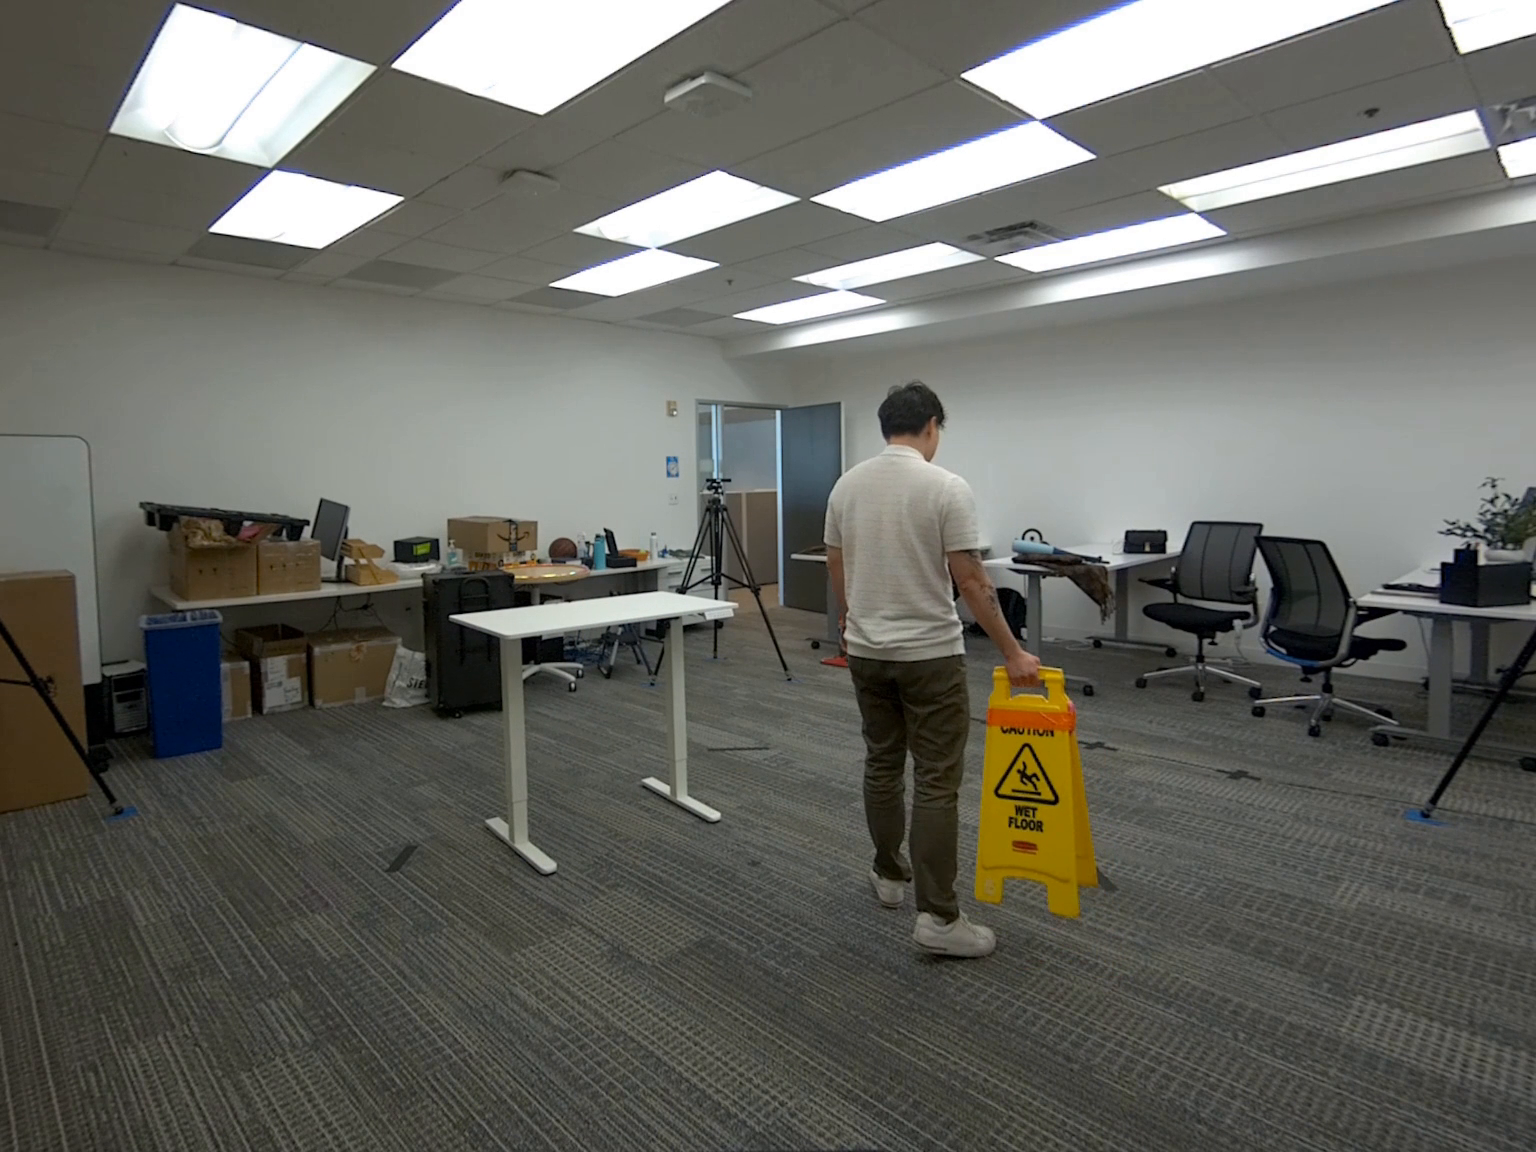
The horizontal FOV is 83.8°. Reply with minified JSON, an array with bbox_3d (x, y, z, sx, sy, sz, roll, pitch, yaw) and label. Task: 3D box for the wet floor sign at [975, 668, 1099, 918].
[{"bbox_3d":[0.788,0.598,2.483,0.289,0.648,0.282,-4,-4,32],"label":"wet floor sign"}]
